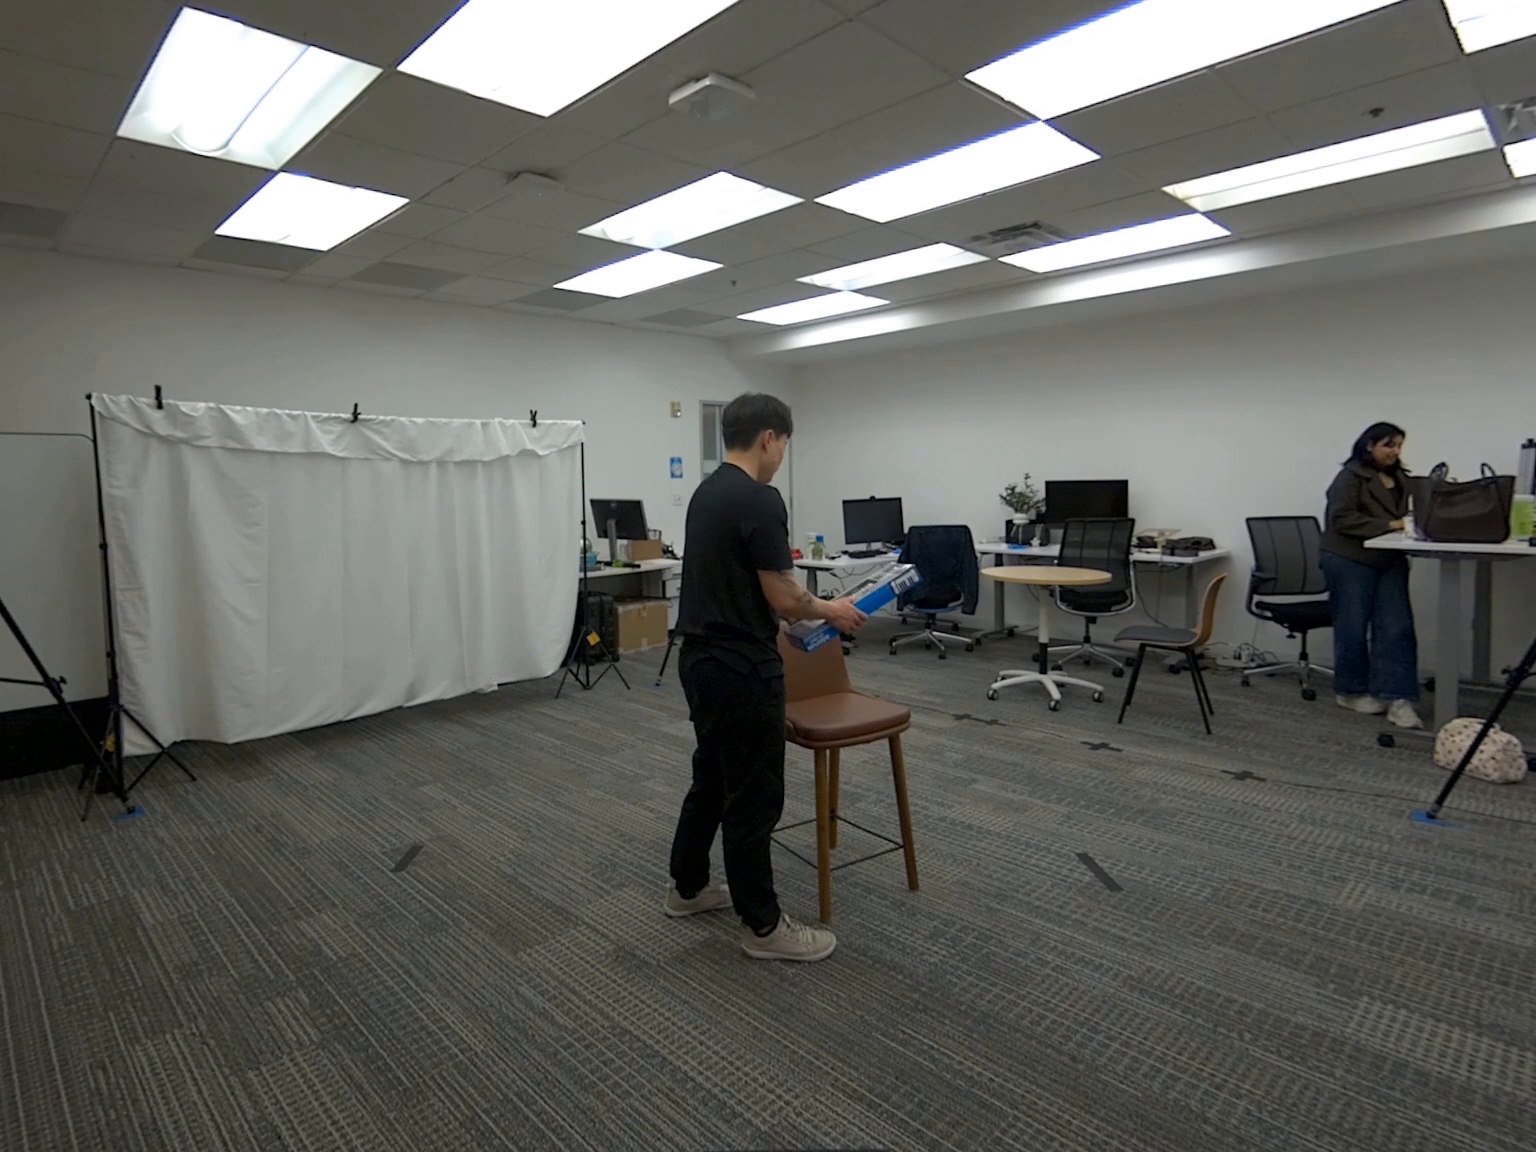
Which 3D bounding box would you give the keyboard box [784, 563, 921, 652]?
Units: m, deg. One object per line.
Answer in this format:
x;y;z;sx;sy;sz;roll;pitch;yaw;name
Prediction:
0.264;0.101;2.700;0.435;0.058;0.179;-31;11;-11;keyboard box
